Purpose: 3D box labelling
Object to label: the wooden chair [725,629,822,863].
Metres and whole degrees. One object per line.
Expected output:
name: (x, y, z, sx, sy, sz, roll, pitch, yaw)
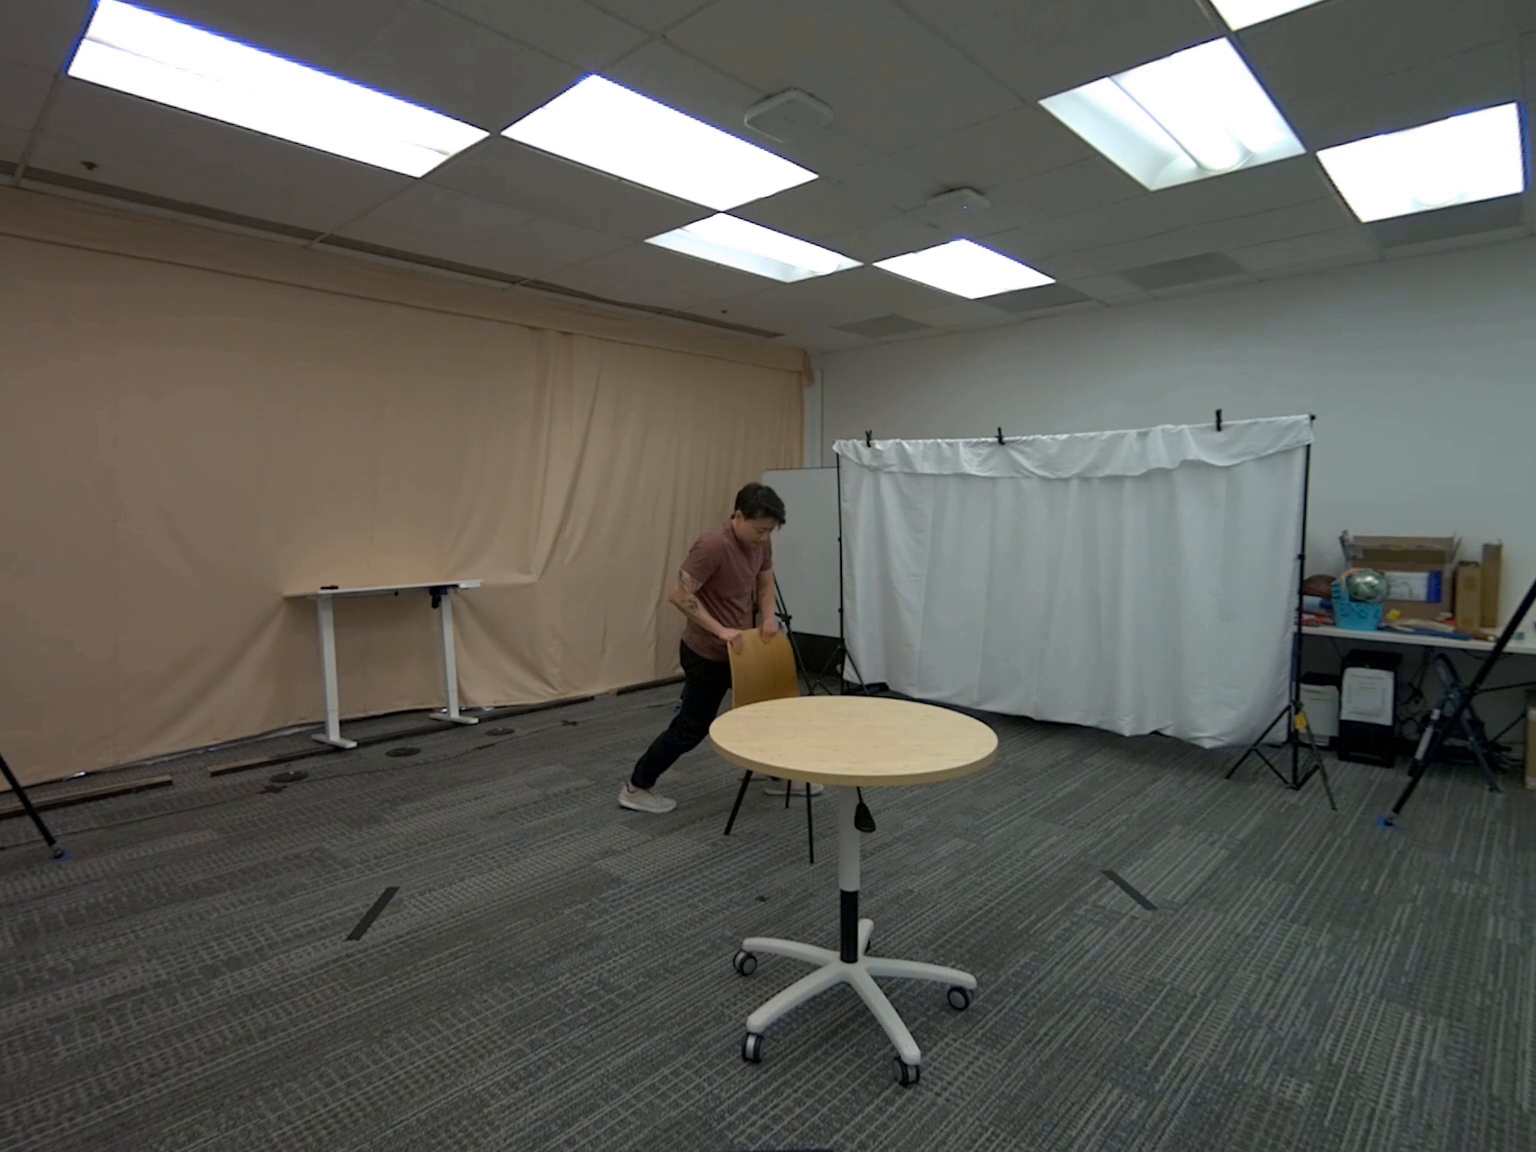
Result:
wooden chair: (0.136, 0.668, 3.545, 0.539, 0.877, 0.463, -3, 0, 40)
